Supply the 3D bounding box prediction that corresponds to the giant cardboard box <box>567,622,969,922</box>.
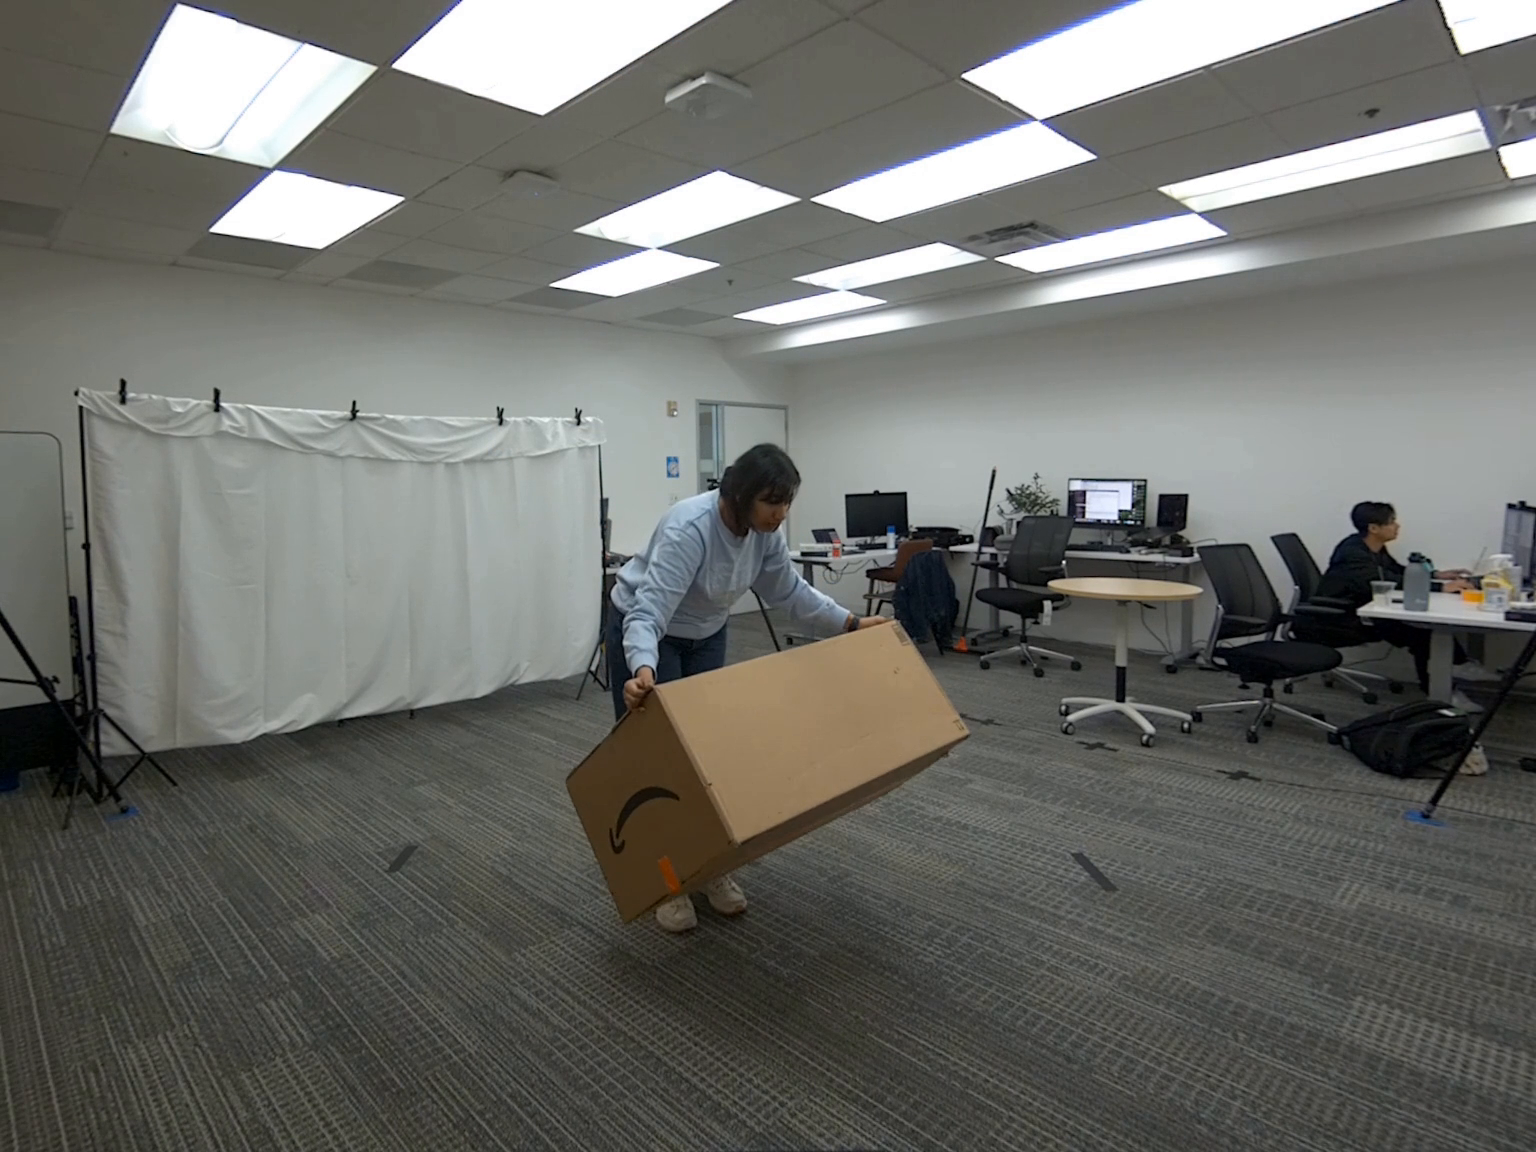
[{"bbox_3d":[0.020,0.540,2.530,1.000,0.437,0.577,-9,-29,-44],"label":"giant cardboard box"}]
